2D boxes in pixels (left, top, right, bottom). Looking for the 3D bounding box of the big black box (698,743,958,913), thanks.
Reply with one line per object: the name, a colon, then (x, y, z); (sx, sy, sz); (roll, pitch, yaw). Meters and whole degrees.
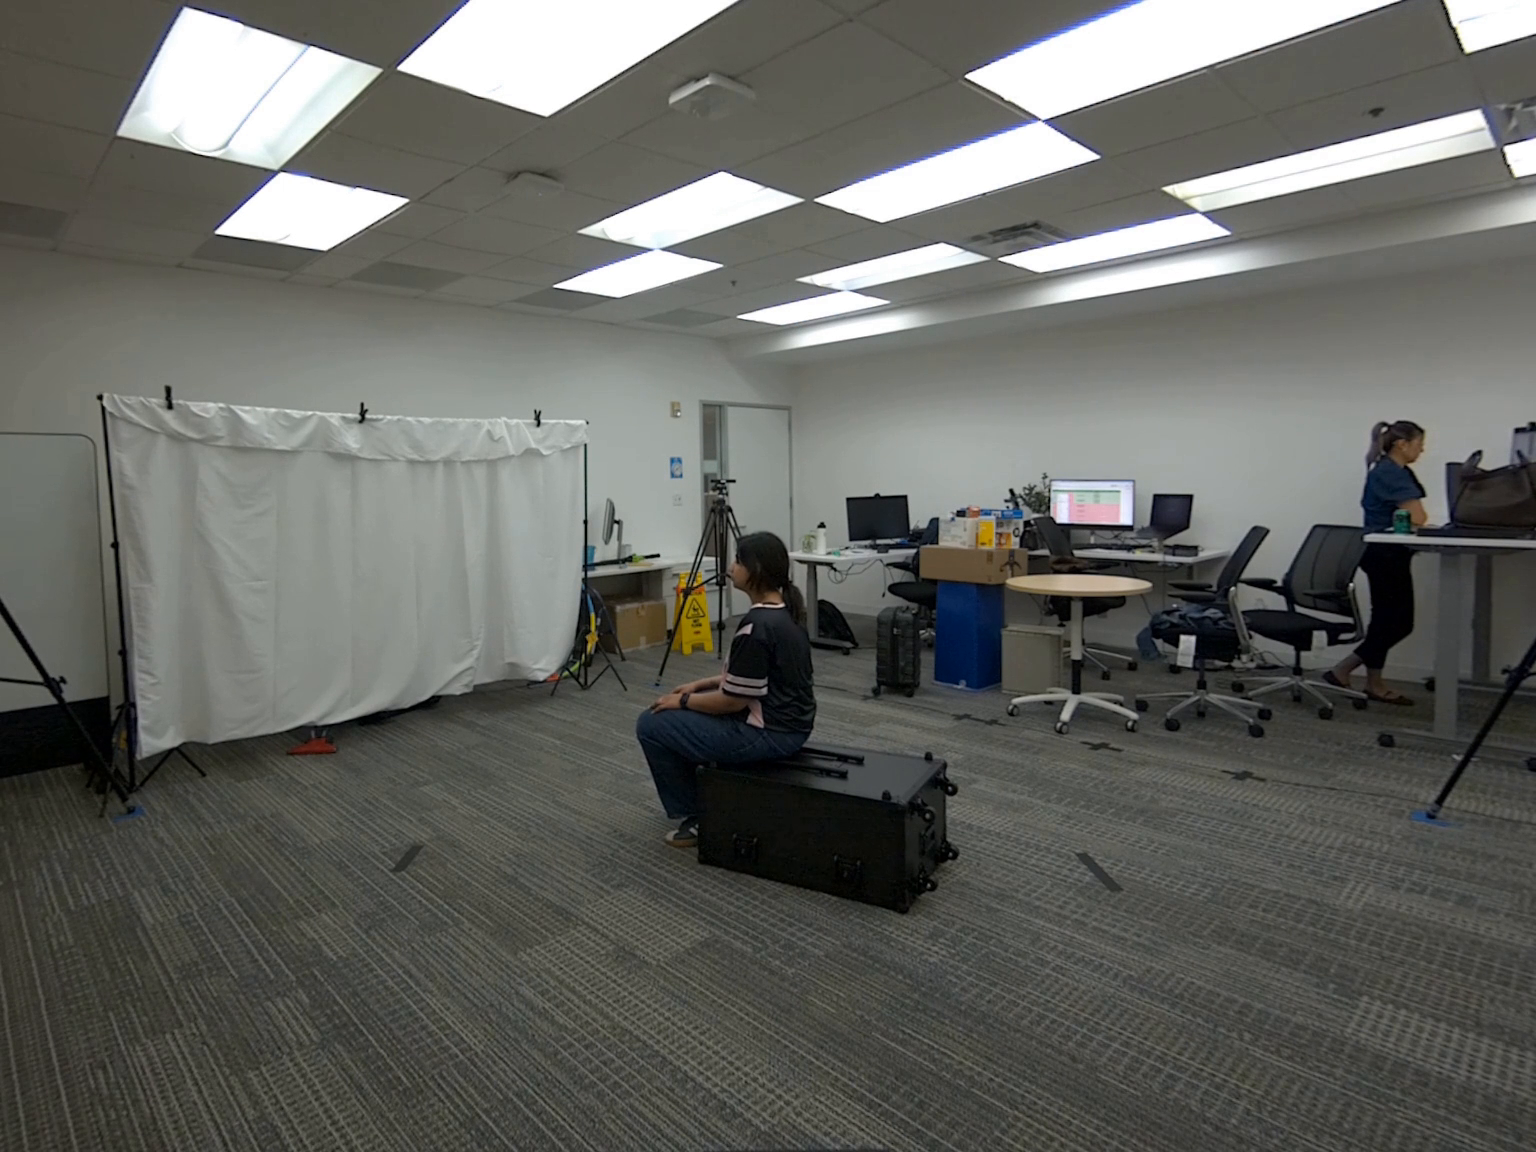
big black box: (0.237, 0.858, 3.103); (0.891, 0.384, 0.512); (2, 5, 28)
